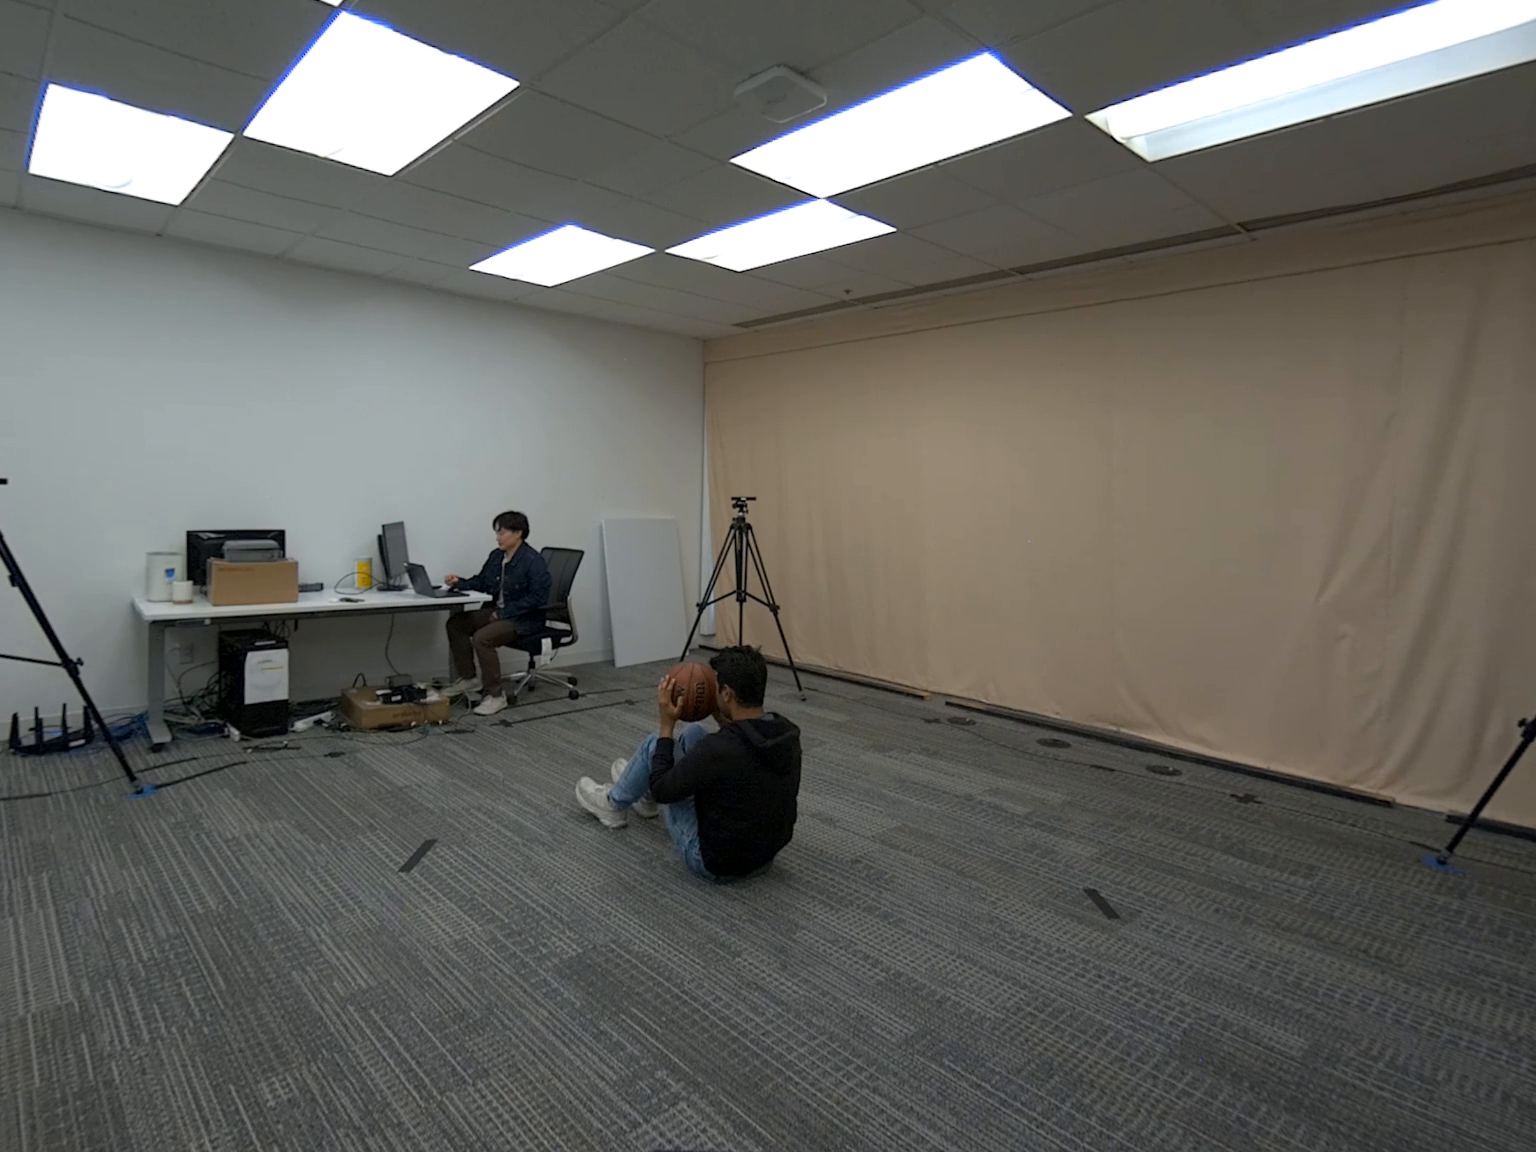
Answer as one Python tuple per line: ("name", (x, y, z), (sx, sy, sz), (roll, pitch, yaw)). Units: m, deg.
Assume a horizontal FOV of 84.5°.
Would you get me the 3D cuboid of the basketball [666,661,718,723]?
("basketball", (-0.296, 0.451, 3.286), (0.236, 0.235, 0.237), (1, 4, -1))
